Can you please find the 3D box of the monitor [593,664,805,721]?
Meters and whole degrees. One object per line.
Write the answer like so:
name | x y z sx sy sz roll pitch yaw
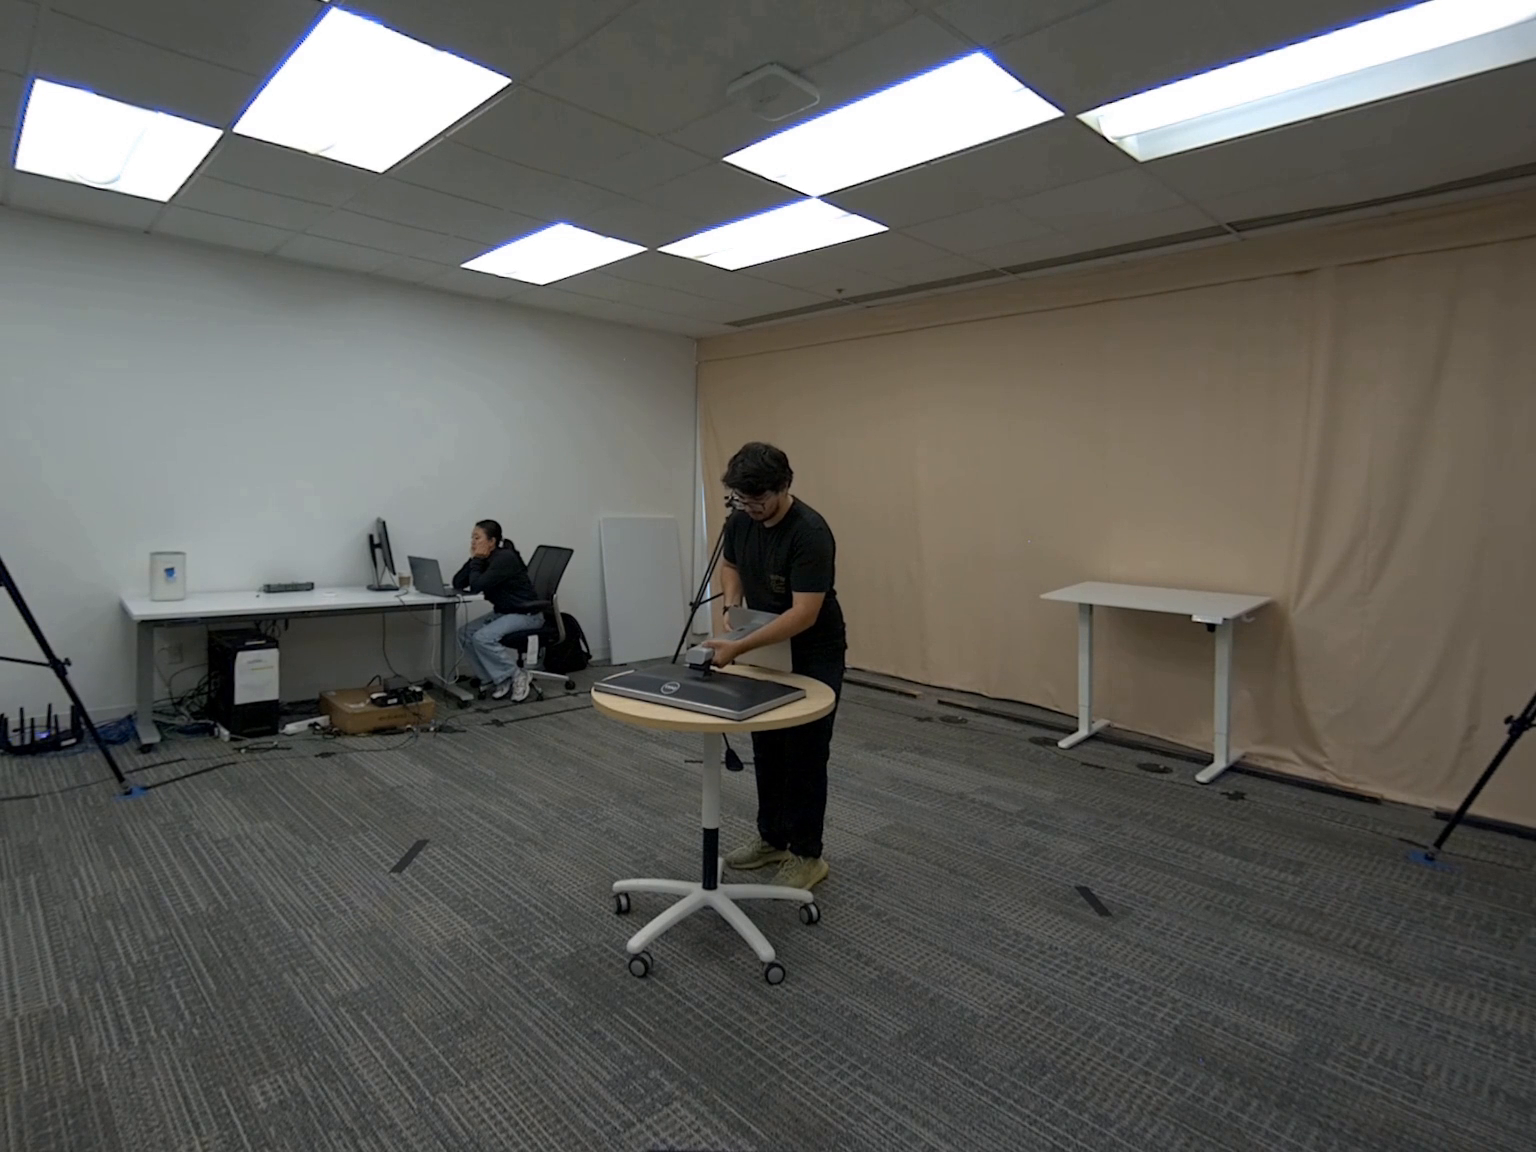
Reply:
monitor | -0.176 0.266 2.665 0.579 0.209 0.545 5 12 34
